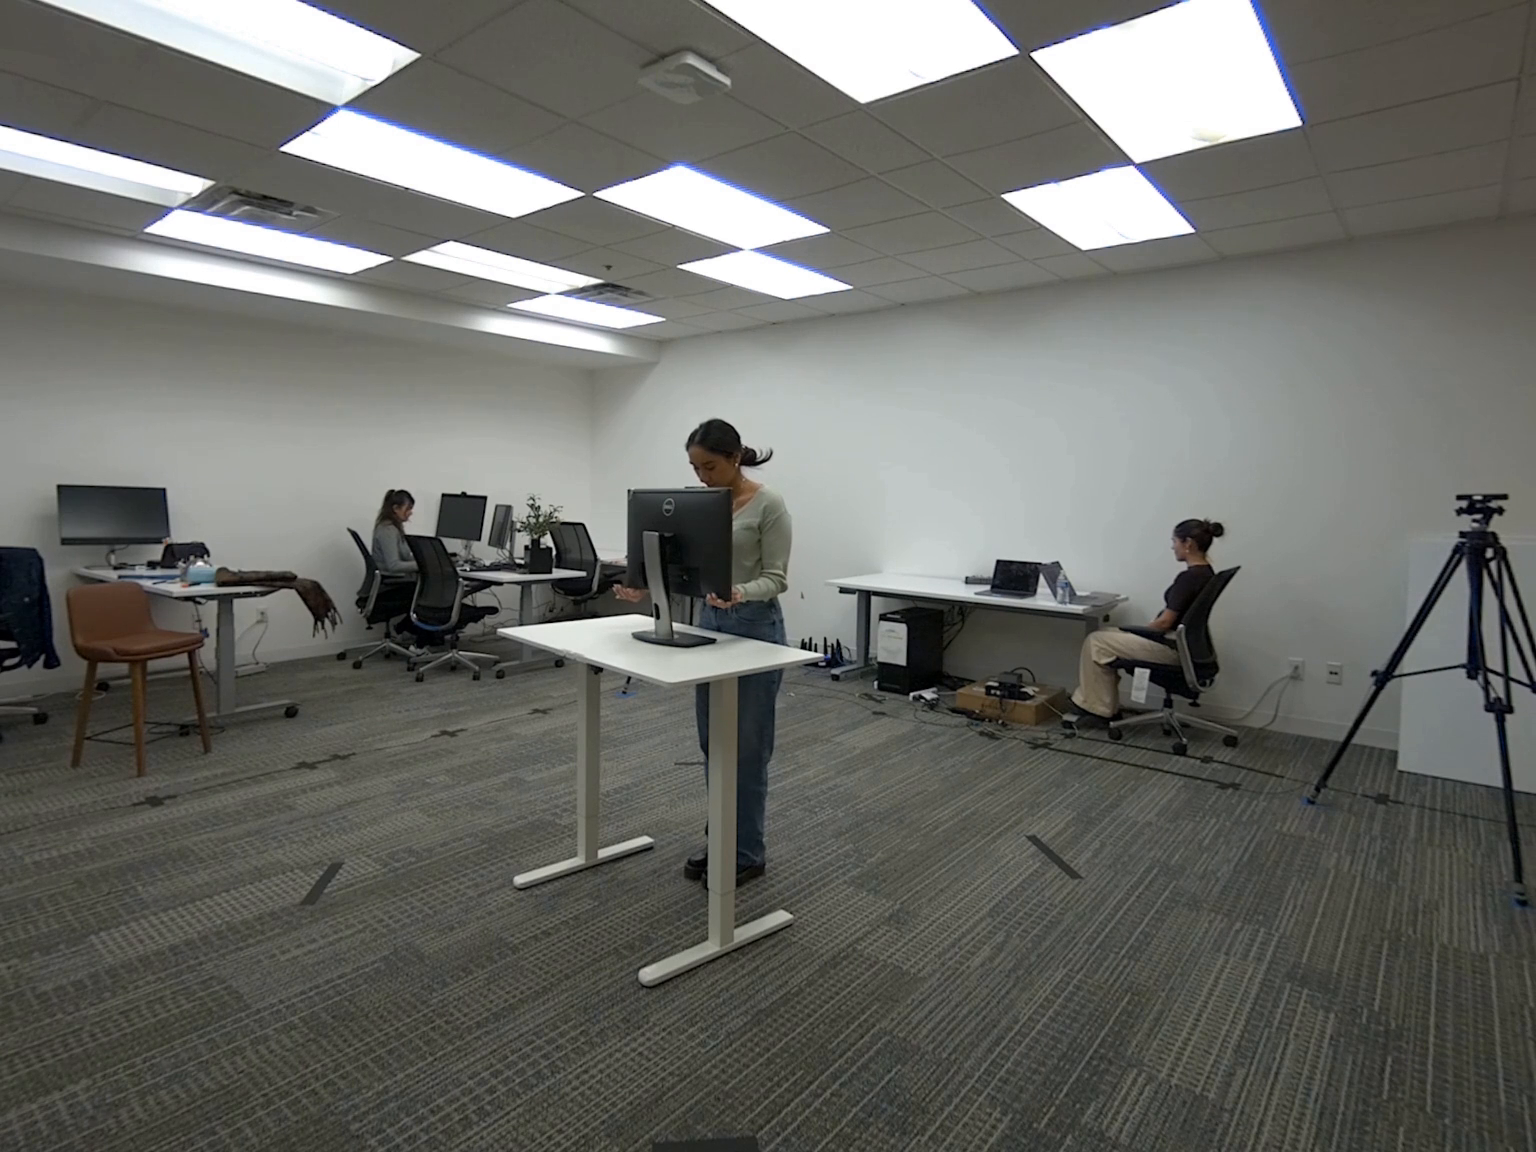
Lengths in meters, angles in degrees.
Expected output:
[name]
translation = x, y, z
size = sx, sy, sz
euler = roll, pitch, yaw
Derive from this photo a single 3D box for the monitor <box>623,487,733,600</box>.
[monitor]
translation = -0.327, -0.030, 2.802
size = 0.557, 0.522, 0.181
euler = 4, 1, 45
